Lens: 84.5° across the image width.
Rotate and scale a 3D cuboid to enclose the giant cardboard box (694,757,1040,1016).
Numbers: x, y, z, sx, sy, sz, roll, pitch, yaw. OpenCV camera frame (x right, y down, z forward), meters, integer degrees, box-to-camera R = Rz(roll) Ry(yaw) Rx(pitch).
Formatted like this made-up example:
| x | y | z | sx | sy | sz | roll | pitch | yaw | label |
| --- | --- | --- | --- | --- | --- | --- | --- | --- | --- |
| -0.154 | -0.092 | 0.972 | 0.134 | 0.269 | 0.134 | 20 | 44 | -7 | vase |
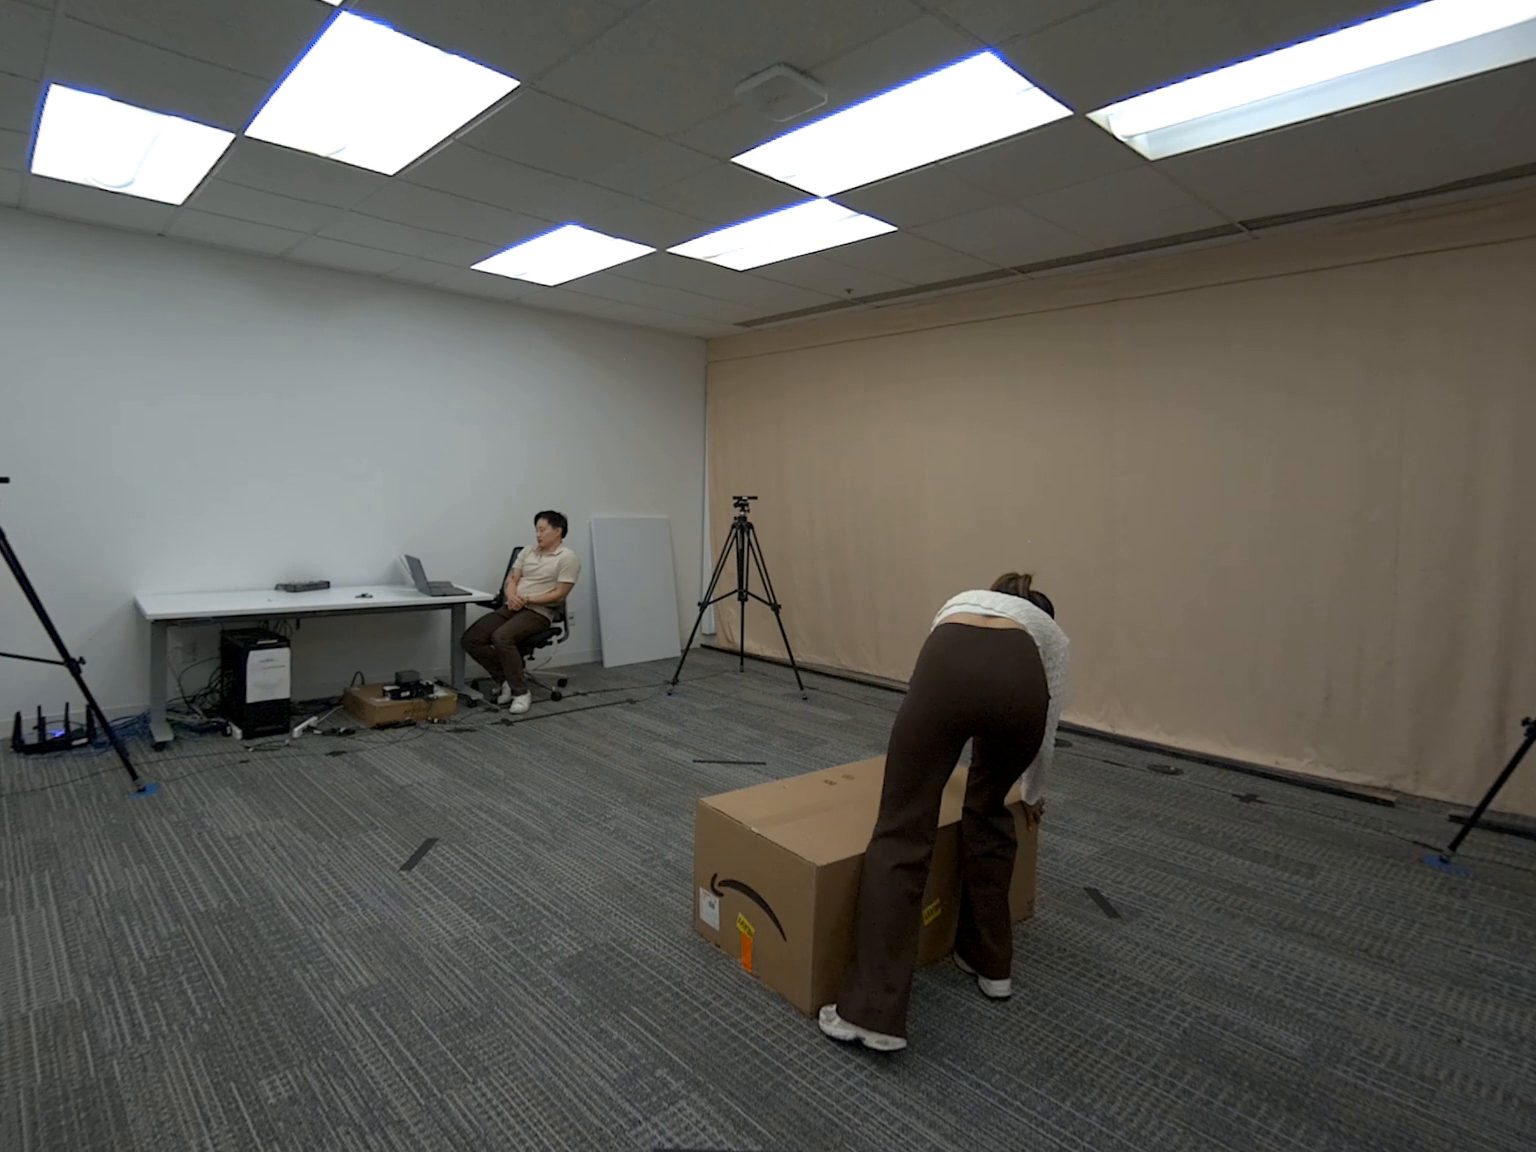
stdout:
| x | y | z | sx | sy | sz | roll | pitch | yaw | label |
| --- | --- | --- | --- | --- | --- | --- | --- | --- | --- |
| 0.329 | 0.931 | 2.772 | 1.003 | 0.425 | 0.592 | -3 | 7 | -37 | giant cardboard box |
